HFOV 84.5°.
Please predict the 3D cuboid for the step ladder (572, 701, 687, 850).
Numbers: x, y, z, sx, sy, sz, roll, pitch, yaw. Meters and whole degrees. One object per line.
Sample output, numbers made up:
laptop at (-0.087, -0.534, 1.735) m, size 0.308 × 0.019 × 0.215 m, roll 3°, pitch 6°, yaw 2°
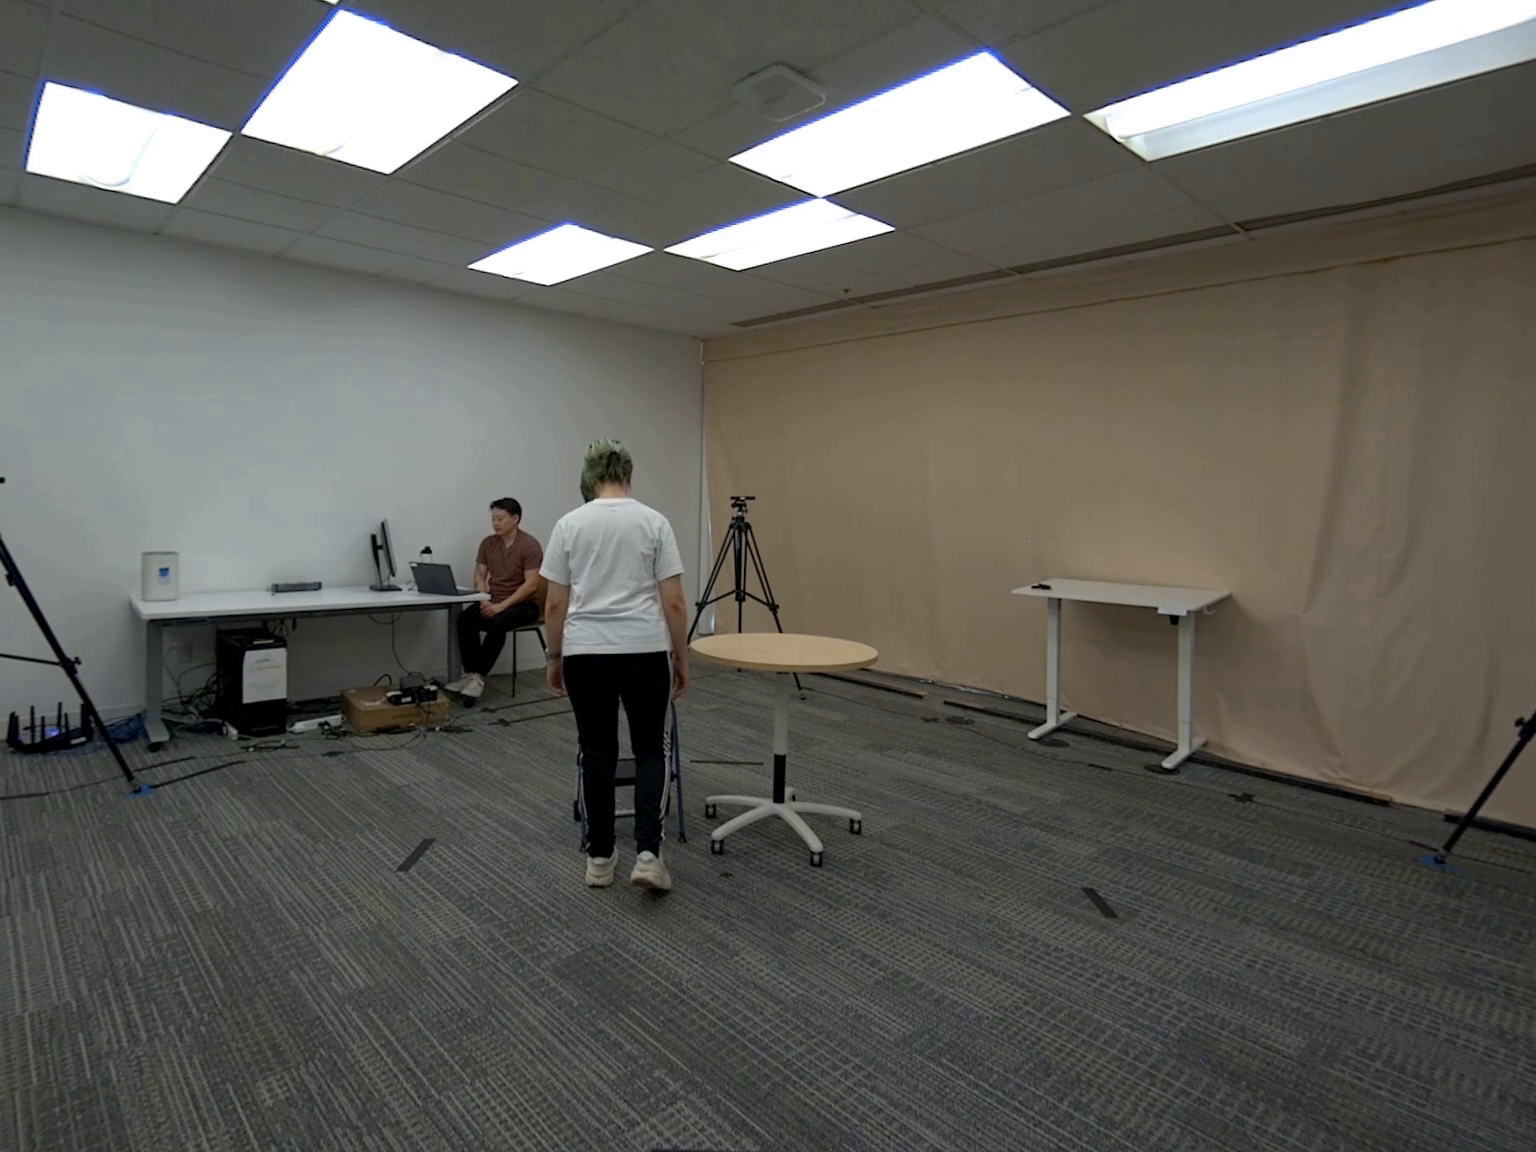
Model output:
step ladder at (-0.578, 0.762, 3.481) m, size 0.424 × 0.605 × 0.355 m, roll 1°, pitch 3°, yaw -18°
